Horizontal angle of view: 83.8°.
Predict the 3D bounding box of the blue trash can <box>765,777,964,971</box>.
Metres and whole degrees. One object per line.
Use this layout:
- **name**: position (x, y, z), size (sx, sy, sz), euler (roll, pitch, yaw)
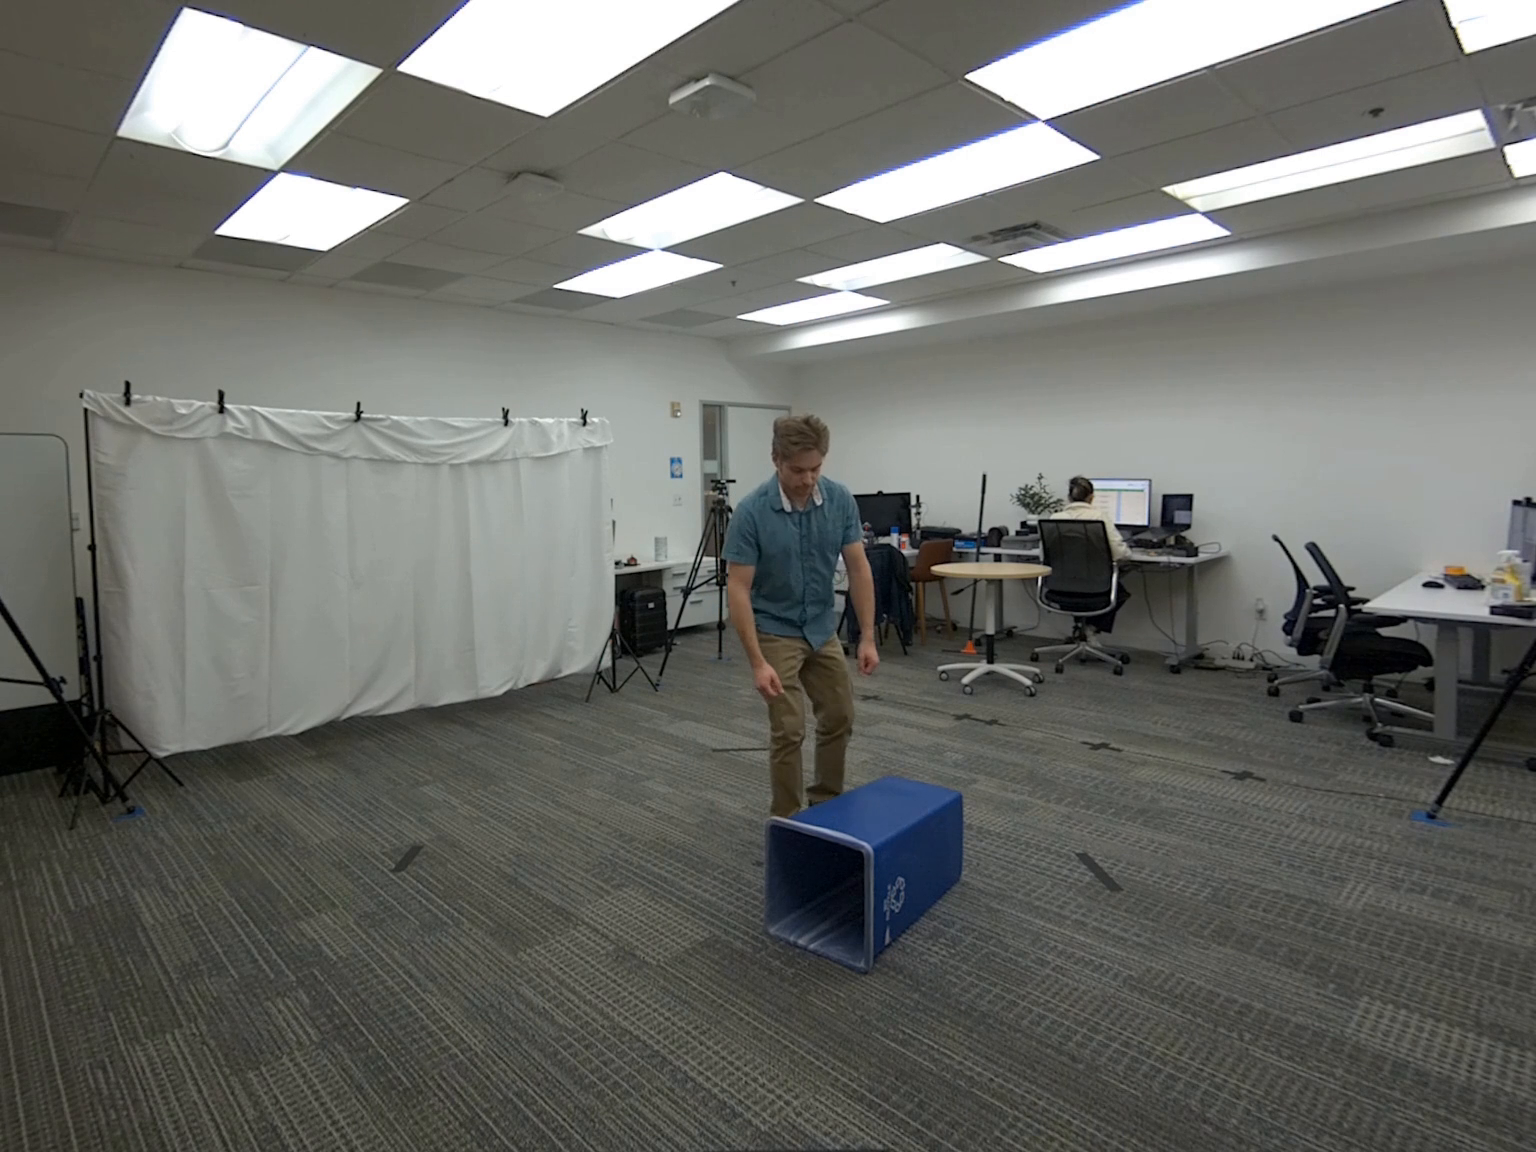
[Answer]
- **blue trash can**: position (0.340, 0.912, 2.783), size (0.385, 0.377, 0.694), euler (2, 3, 37)
